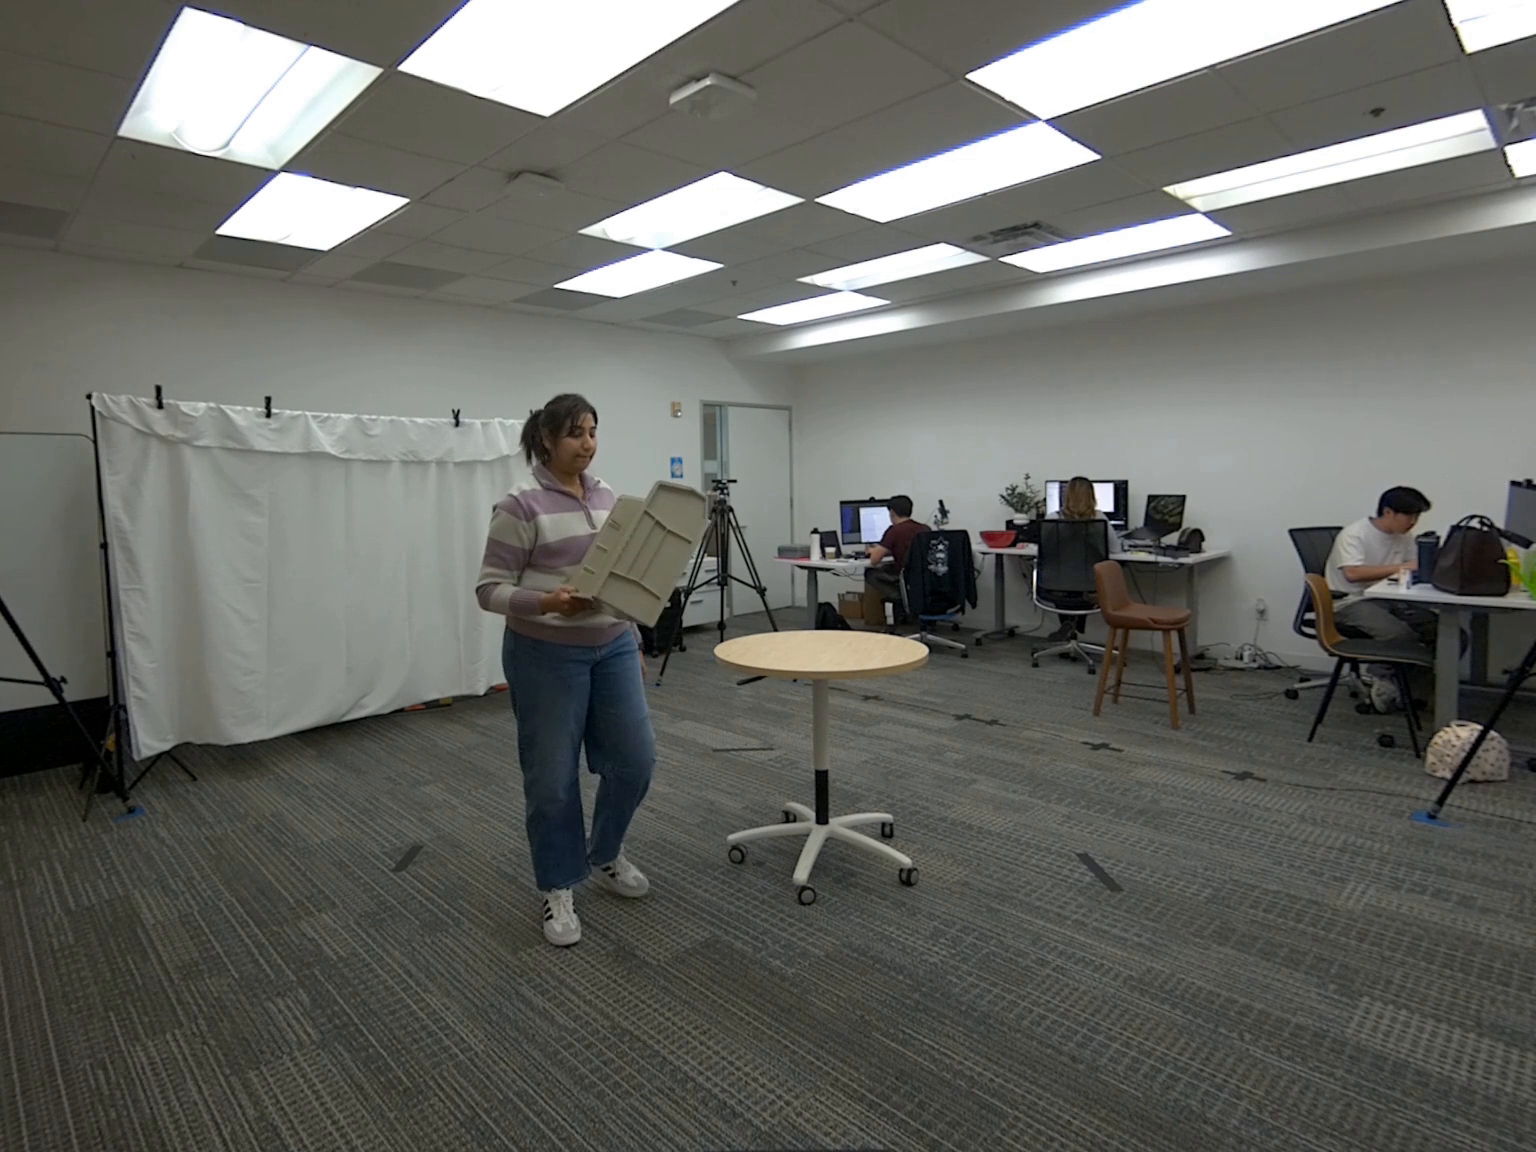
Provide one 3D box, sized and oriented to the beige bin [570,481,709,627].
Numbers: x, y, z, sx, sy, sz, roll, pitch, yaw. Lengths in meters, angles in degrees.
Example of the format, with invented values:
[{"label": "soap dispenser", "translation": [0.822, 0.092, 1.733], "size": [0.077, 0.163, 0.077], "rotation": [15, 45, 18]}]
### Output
[{"label": "beige bin", "translation": [-0.347, -0.062, 2.356], "size": [0.185, 0.379, 0.430], "rotation": [29, -11, -19]}]
